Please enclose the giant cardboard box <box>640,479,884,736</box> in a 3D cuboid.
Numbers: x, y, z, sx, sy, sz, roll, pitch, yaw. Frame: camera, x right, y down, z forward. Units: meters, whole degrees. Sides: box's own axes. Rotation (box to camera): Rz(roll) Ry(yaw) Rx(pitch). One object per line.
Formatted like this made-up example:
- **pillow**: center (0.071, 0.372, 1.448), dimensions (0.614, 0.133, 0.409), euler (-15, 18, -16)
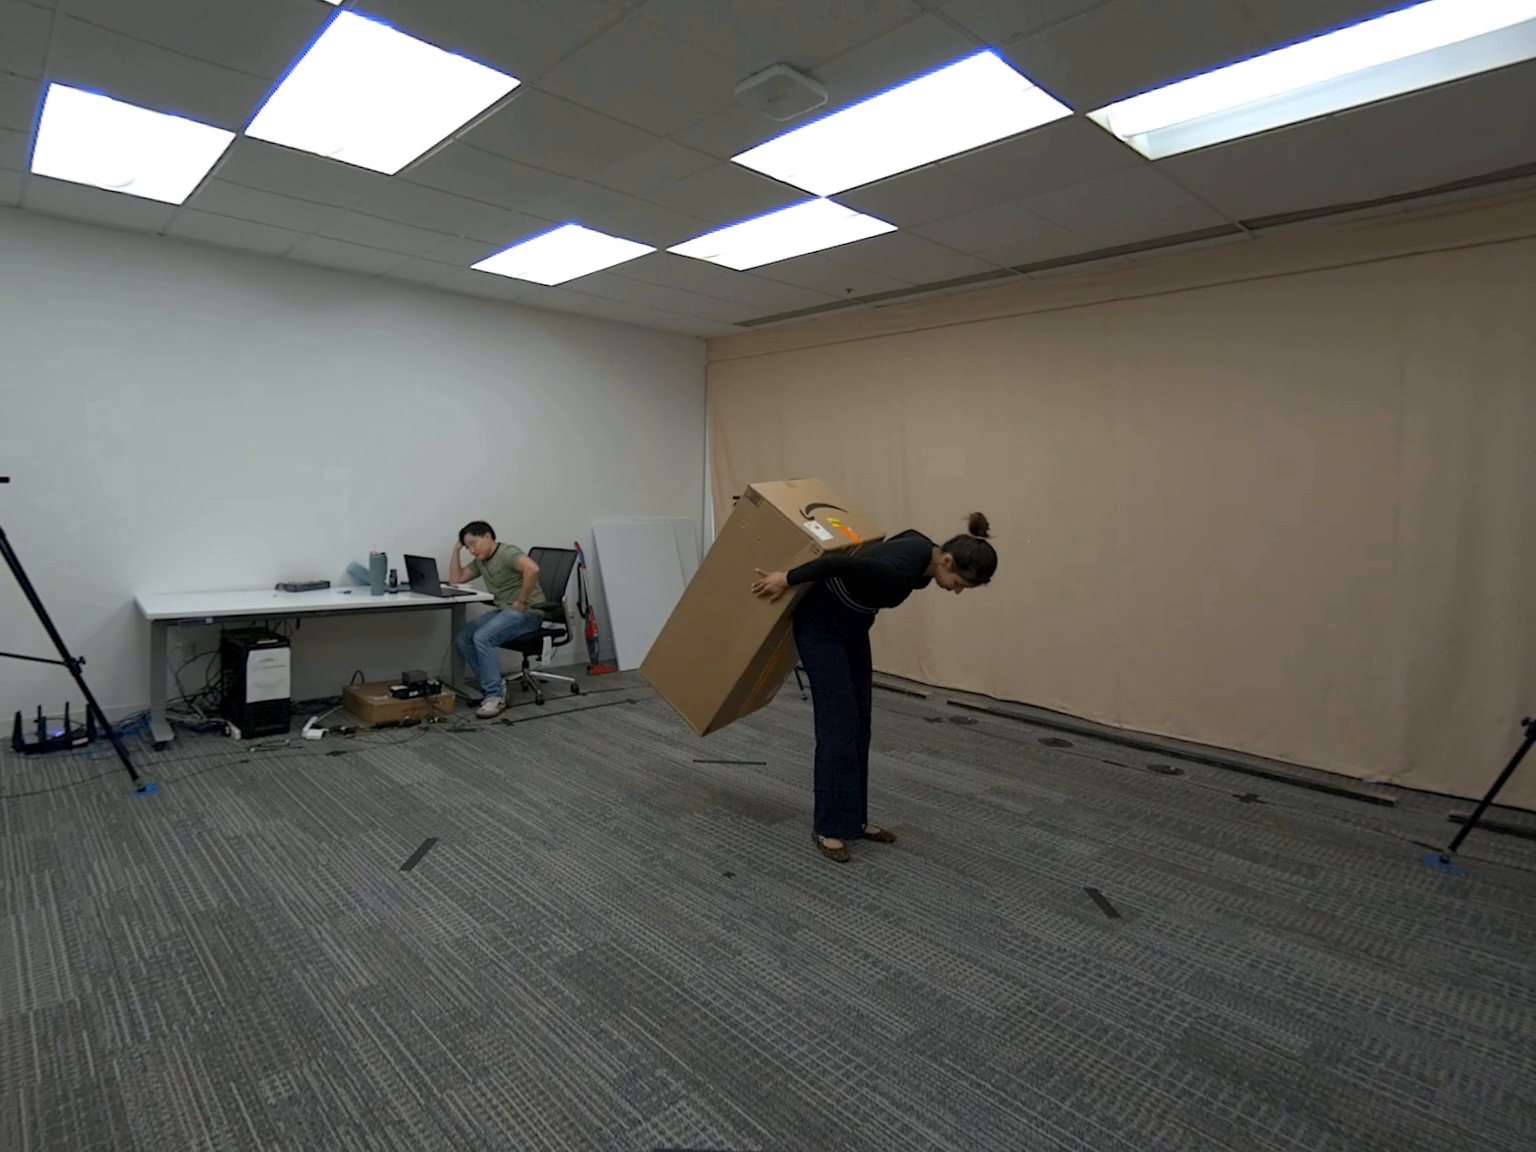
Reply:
- **giant cardboard box**: center (-0.042, 0.128, 3.646), dimensions (0.436, 1.020, 0.567), euler (41, 26, 21)
